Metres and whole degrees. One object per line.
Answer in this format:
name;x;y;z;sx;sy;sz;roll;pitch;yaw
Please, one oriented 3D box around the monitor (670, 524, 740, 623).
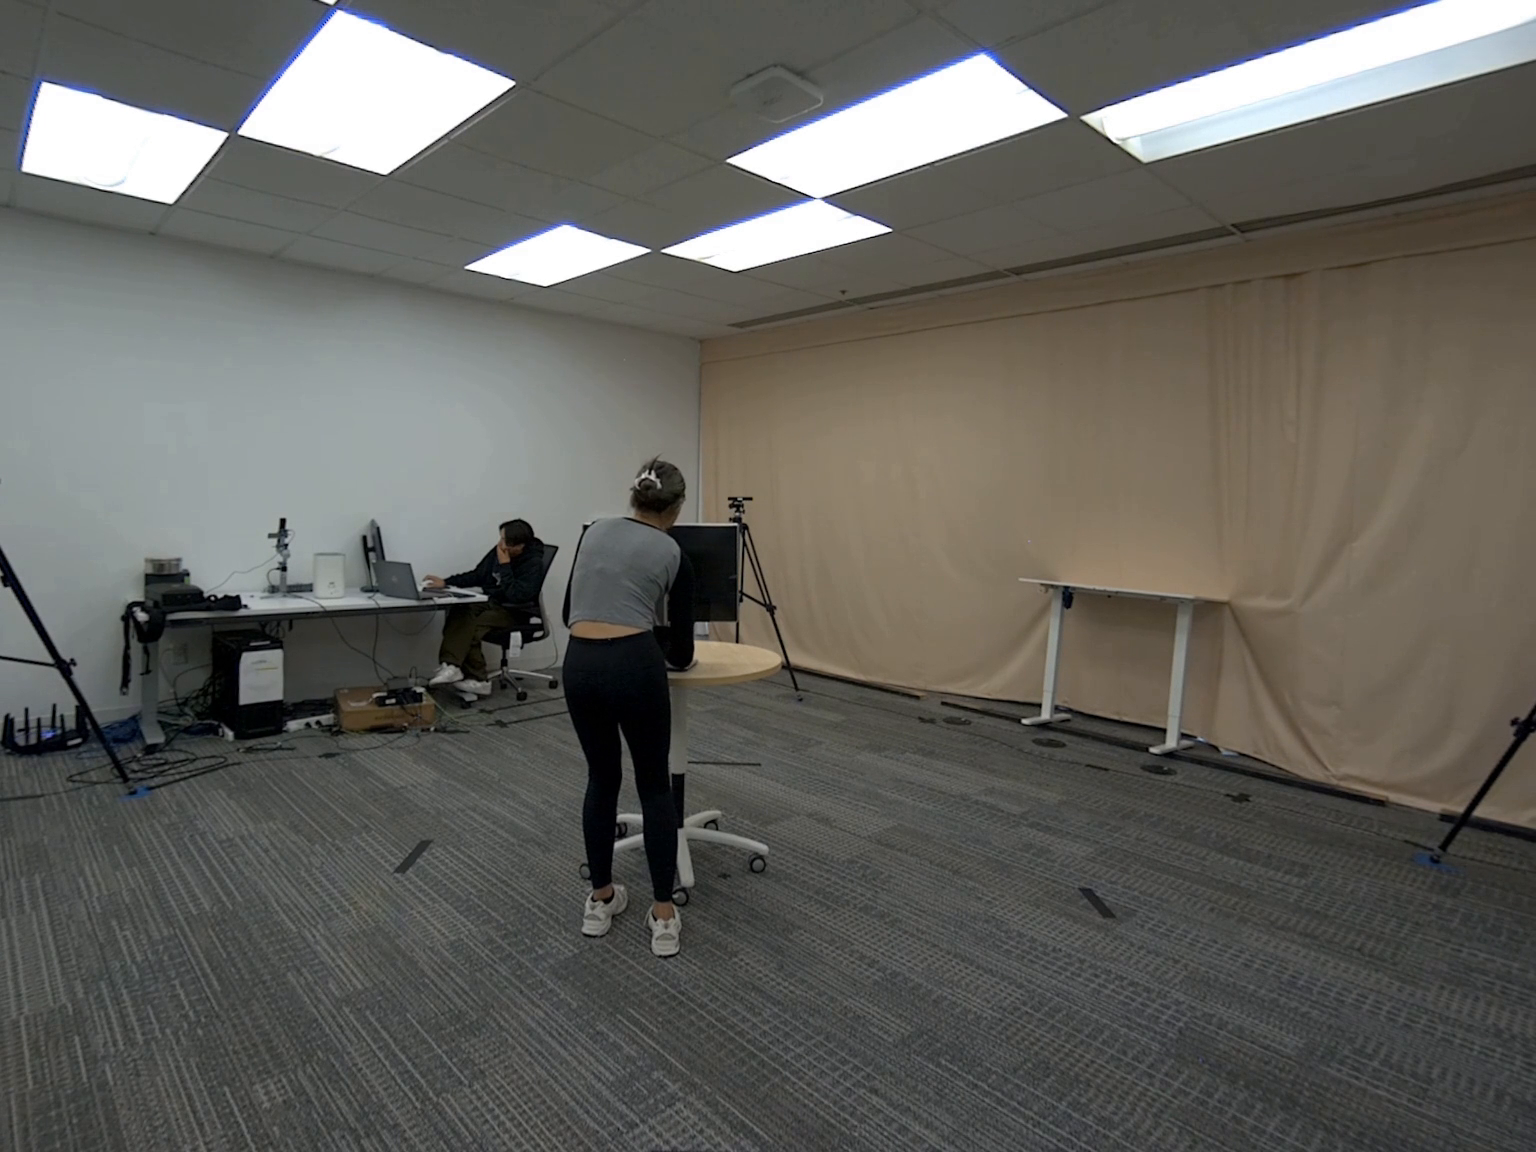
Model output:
monitor;-0.380;0.077;2.988;0.540;0.522;0.187;1;1;2
